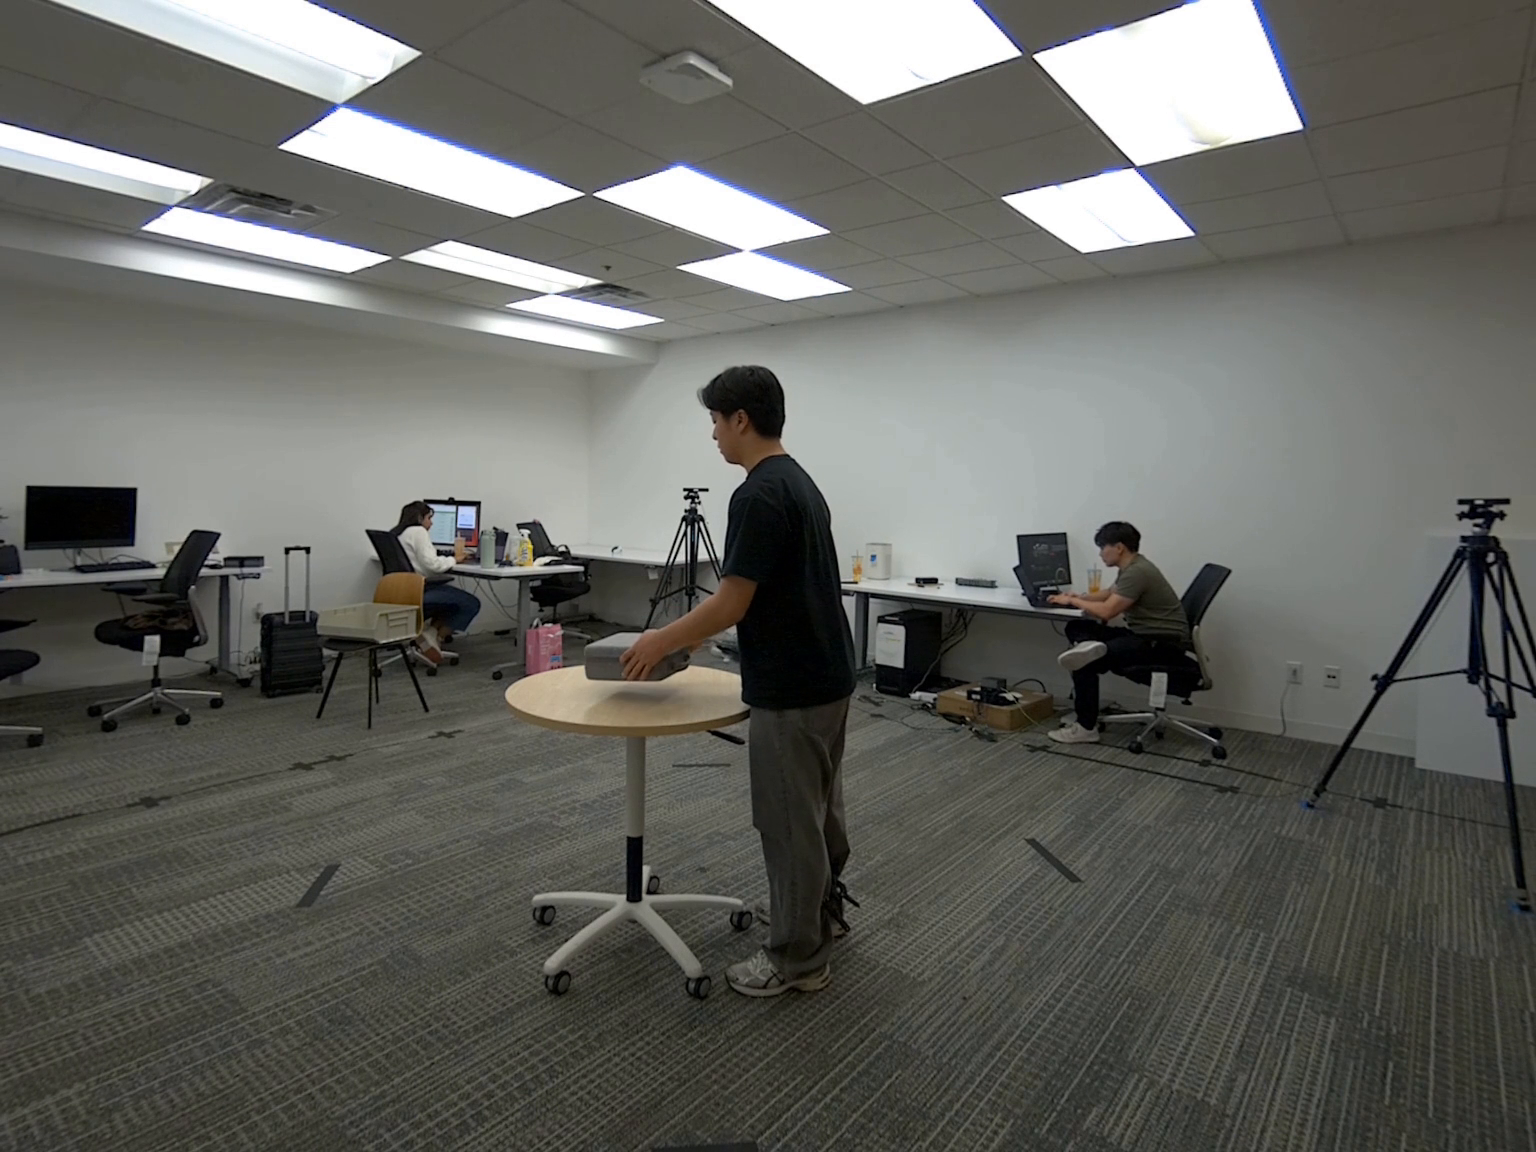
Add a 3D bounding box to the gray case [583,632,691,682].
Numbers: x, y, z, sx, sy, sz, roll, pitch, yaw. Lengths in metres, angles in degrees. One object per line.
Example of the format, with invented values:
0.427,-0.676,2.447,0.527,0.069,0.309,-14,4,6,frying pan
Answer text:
-0.384,0.234,2.510,0.291,0.102,0.261,-1,6,13,gray case
